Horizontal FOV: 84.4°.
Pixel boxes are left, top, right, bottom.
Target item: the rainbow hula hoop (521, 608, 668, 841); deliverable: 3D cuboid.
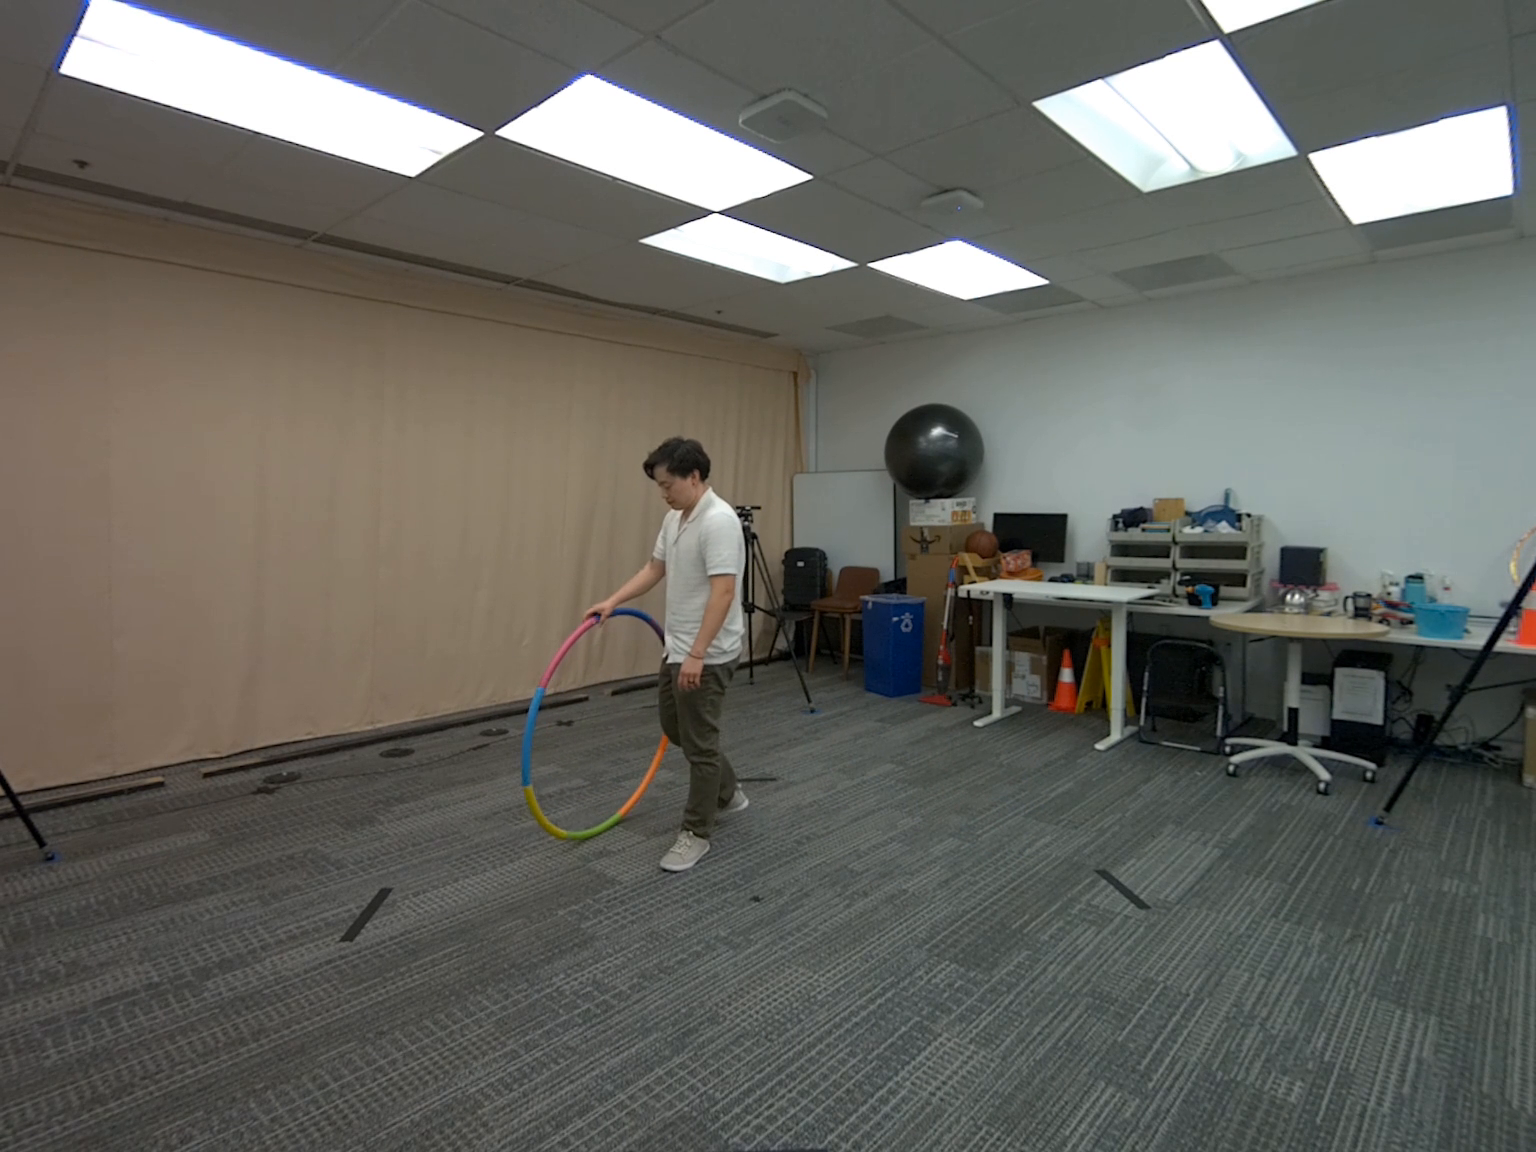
[{"bbox_3d":[-0.672,0.618,3.549,0.036,0.975,0.953,8,7,29],"label":"rainbow hula hoop"}]
